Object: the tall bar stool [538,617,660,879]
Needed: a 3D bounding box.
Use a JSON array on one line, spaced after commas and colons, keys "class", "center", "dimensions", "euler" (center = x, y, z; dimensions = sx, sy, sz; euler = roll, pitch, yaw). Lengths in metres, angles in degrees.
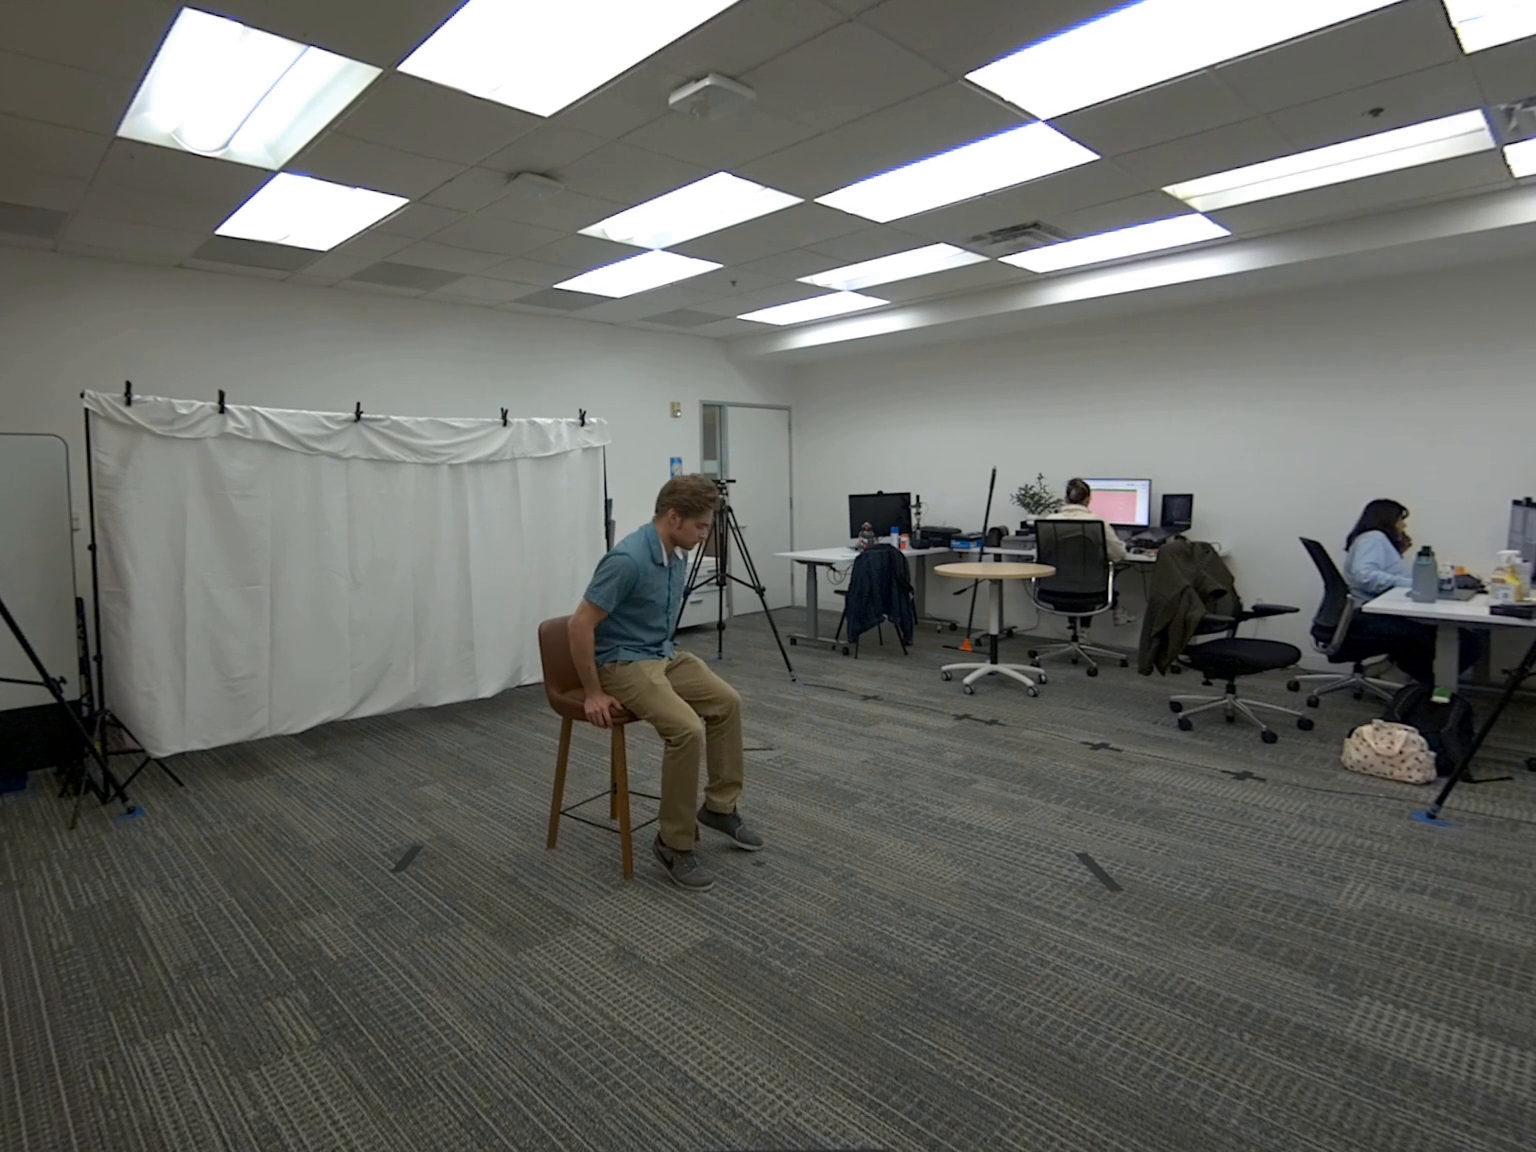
[{"class": "tall bar stool", "center": [-0.579, 0.602, 3.283], "dimensions": [0.480, 0.888, 0.445], "euler": [-1, 2, 36]}]
